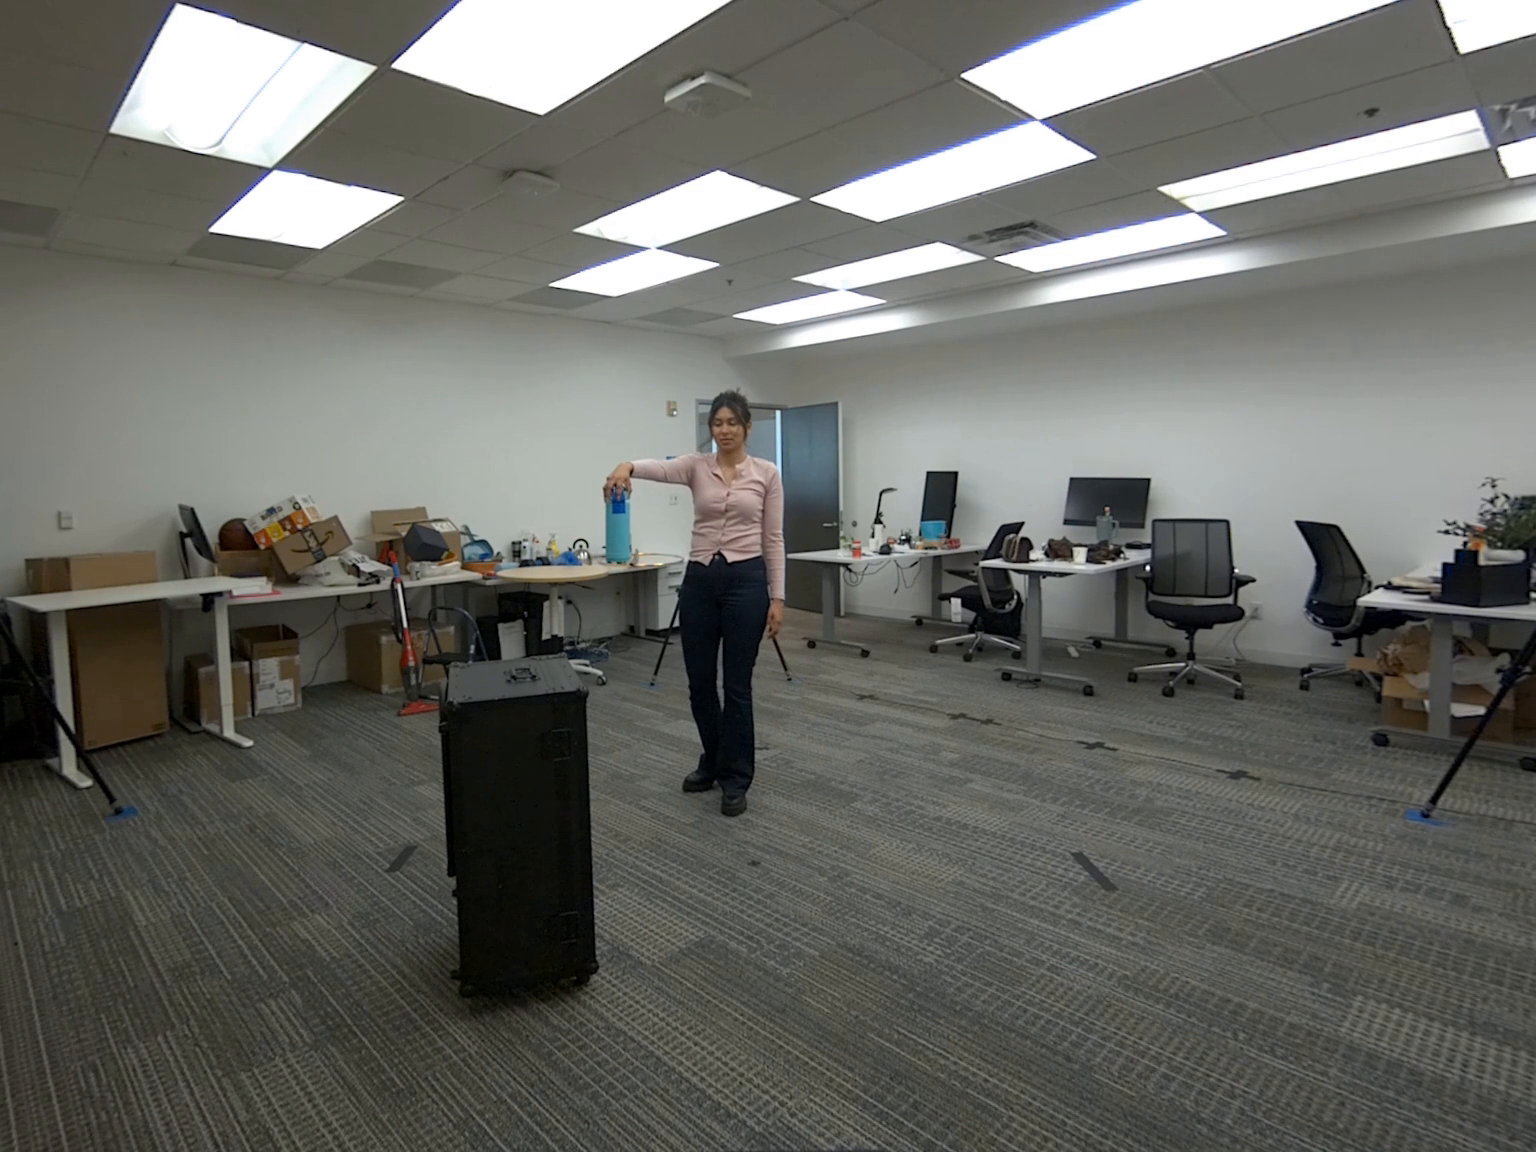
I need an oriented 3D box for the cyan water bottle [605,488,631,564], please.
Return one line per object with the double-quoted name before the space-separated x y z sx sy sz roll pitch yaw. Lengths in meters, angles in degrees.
"cyan water bottle" -0.548 -0.196 3.128 0.092 0.283 0.092 0 2 -2
